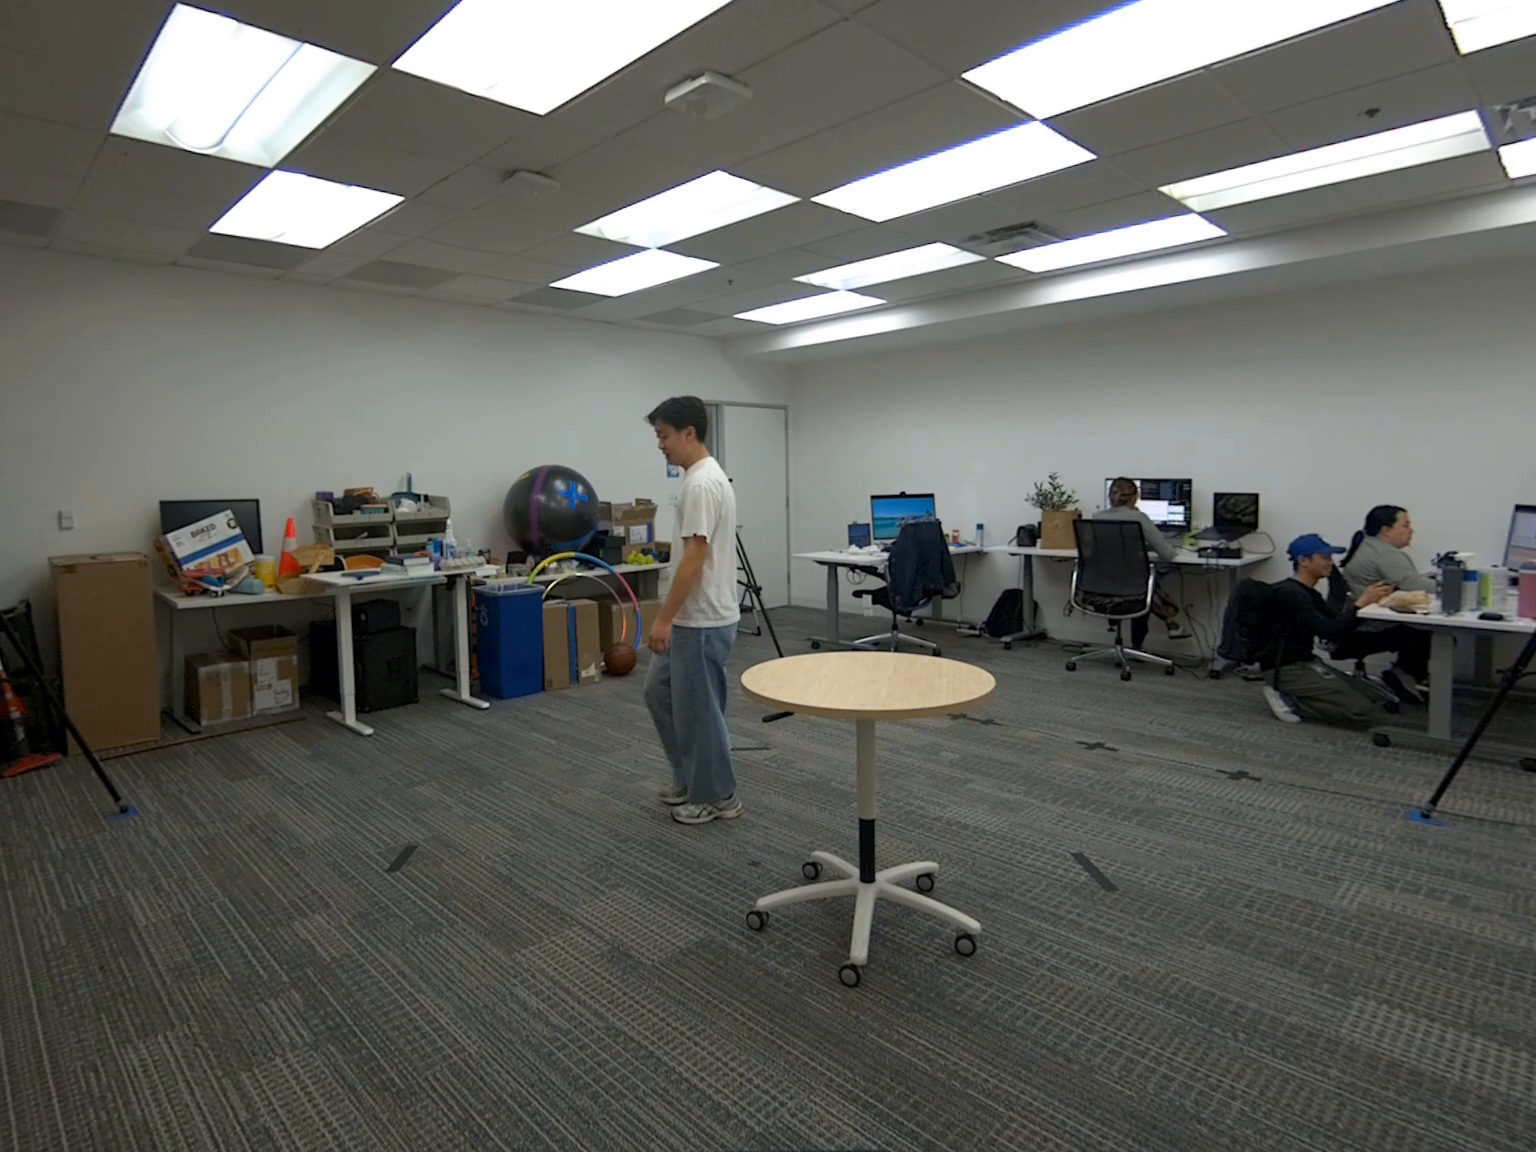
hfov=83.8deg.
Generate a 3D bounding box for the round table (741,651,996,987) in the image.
[{"bbox_3d":[0.309,0.702,2.658,0.763,0.791,0.768,-1,5,-2],"label":"round table"}]
